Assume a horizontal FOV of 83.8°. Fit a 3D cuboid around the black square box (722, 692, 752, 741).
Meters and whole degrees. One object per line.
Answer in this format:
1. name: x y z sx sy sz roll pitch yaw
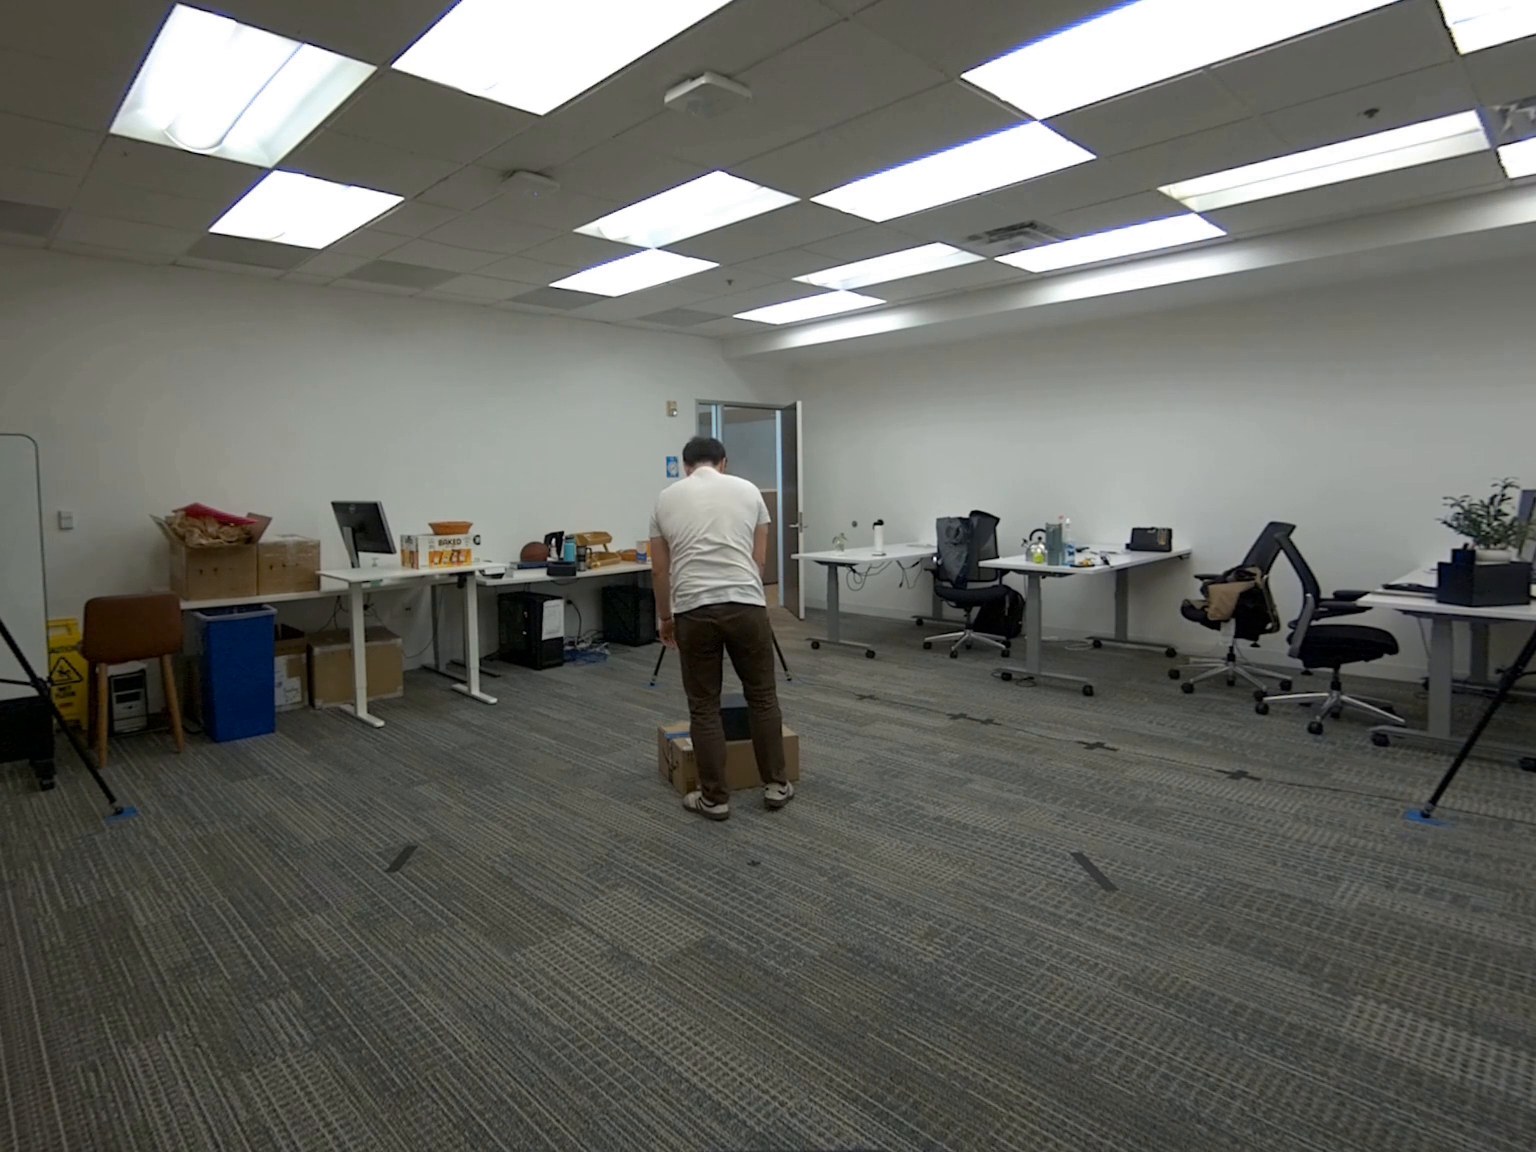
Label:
1. black square box: -0.195 0.646 3.957 0.226 0.155 0.220 -1 7 -10
